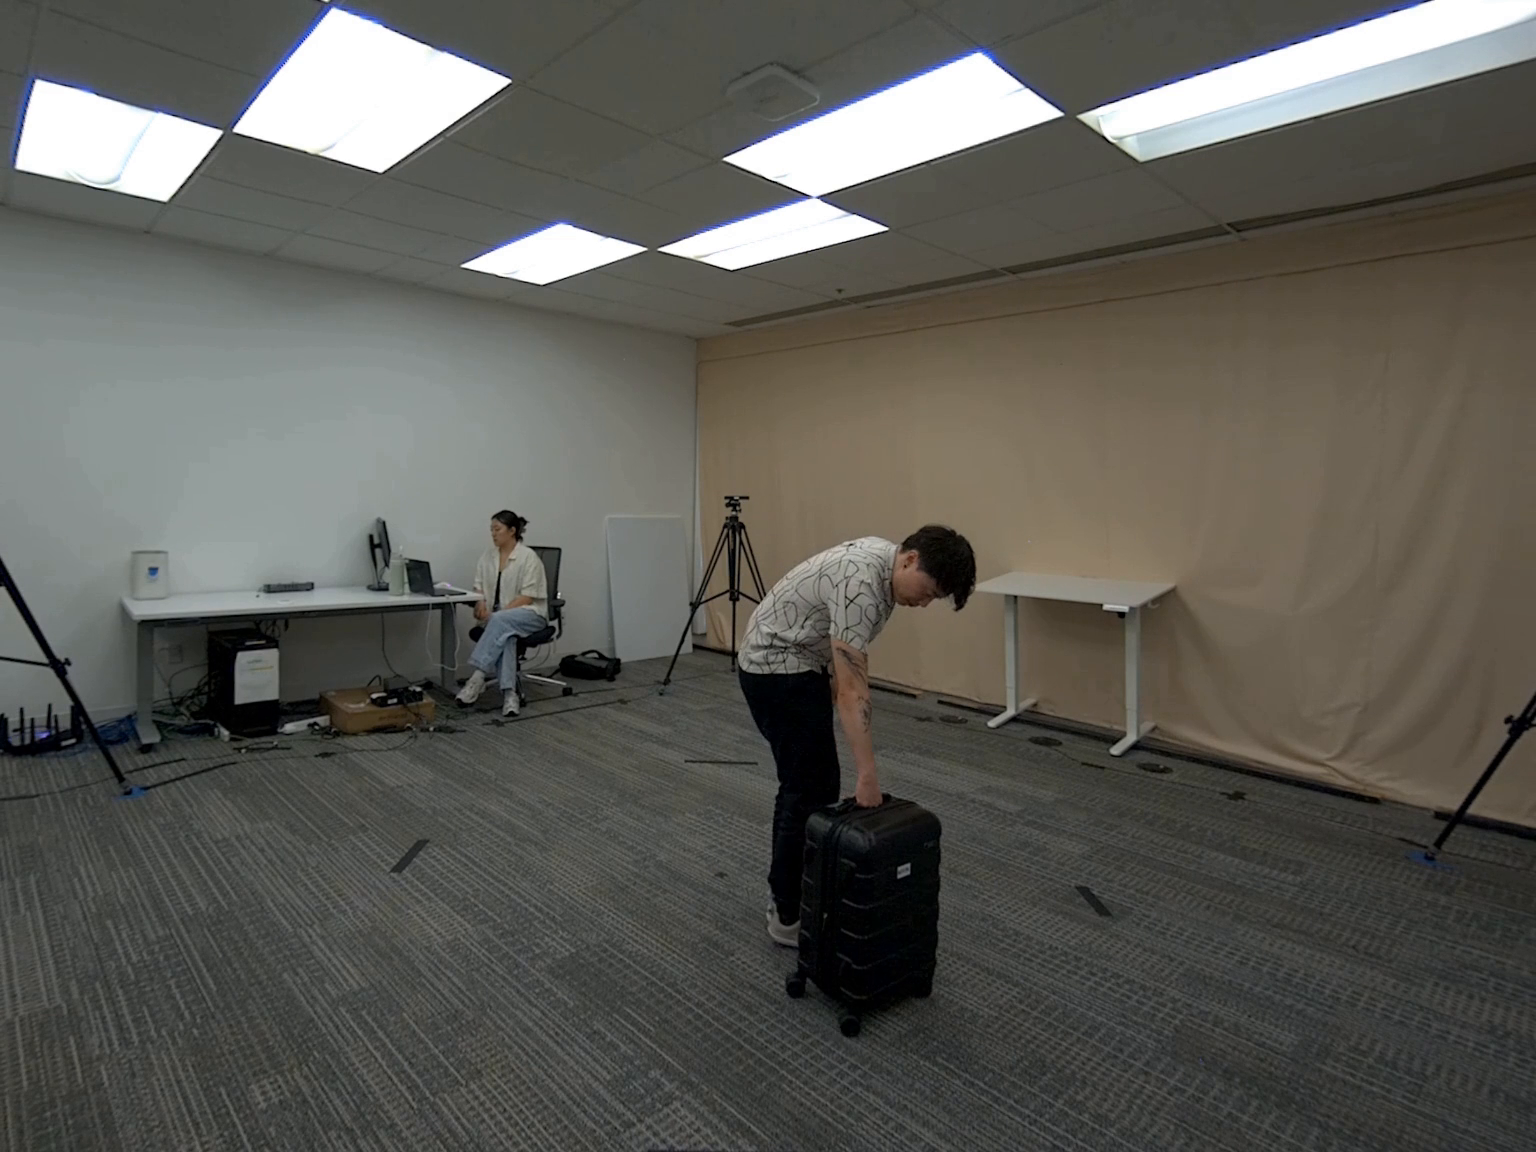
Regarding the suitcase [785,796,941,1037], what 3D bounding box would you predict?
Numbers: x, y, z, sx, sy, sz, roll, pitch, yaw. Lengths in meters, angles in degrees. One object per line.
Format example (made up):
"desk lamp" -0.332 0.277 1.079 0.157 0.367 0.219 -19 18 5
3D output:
"suitcase" 0.288 0.909 2.354 0.367 0.548 0.255 0 5 -38
